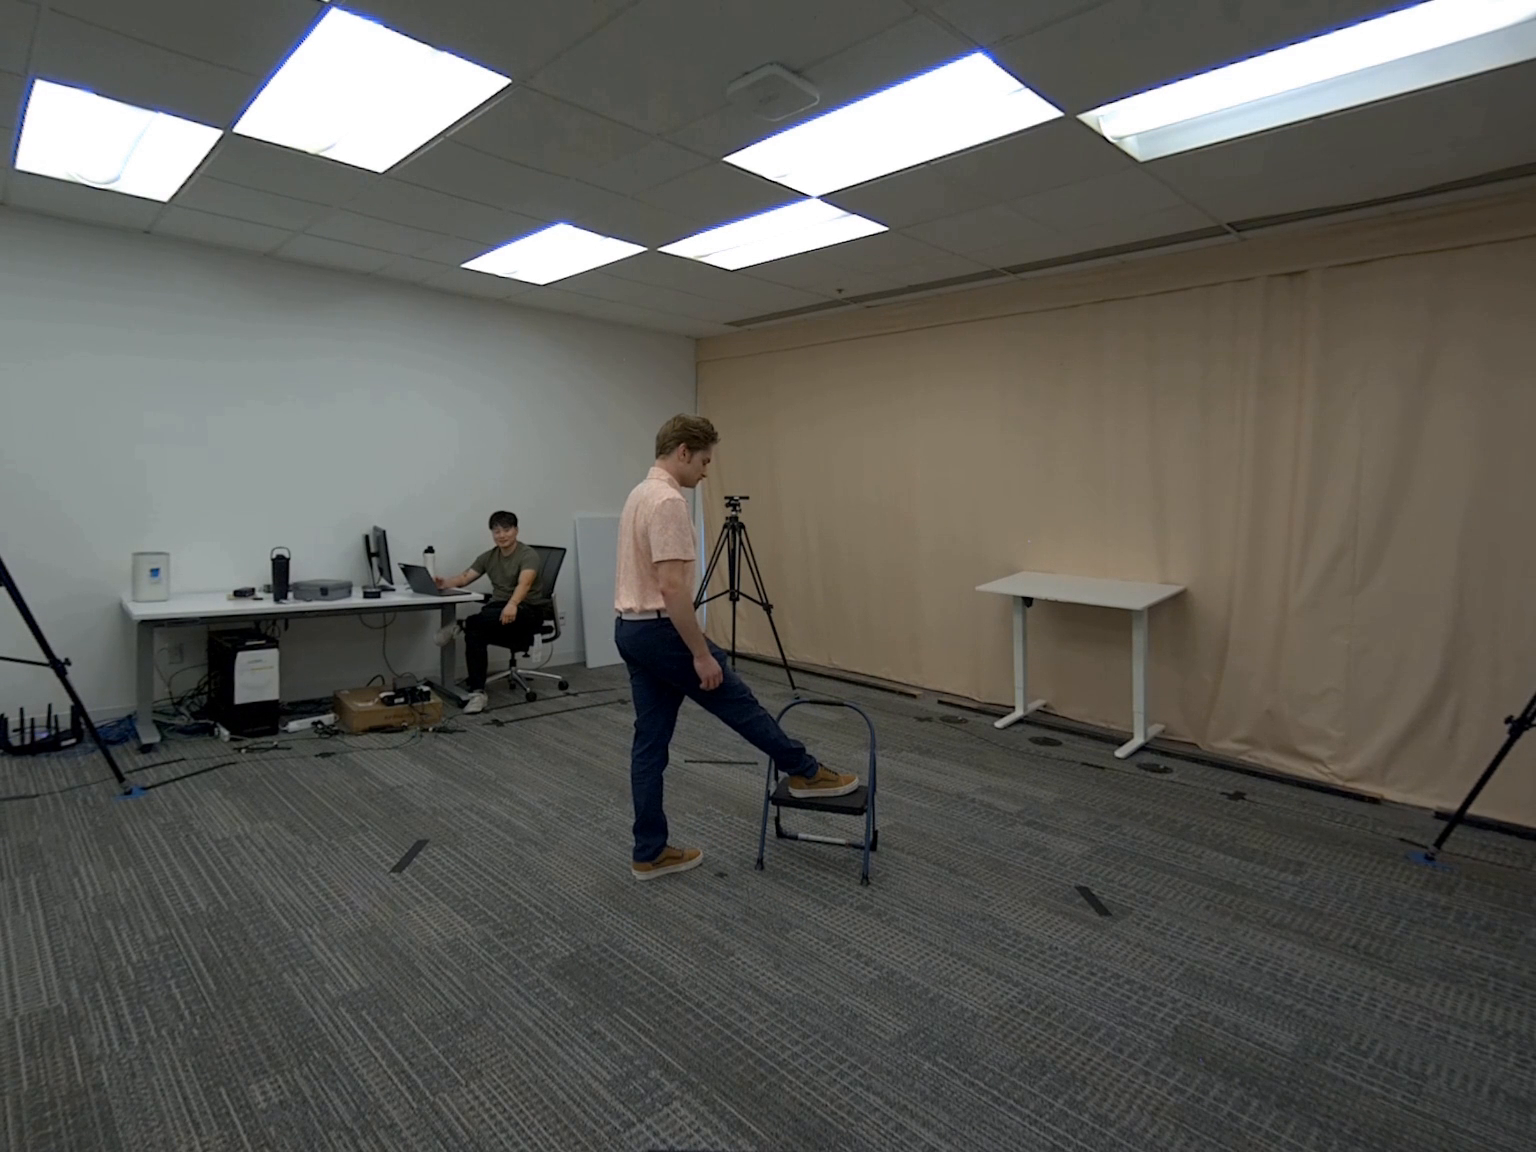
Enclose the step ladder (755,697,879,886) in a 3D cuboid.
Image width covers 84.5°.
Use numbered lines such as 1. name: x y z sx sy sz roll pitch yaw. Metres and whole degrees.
1. step ladder: 0.200 0.798 3.255 0.436 0.605 0.346 2 3 14
